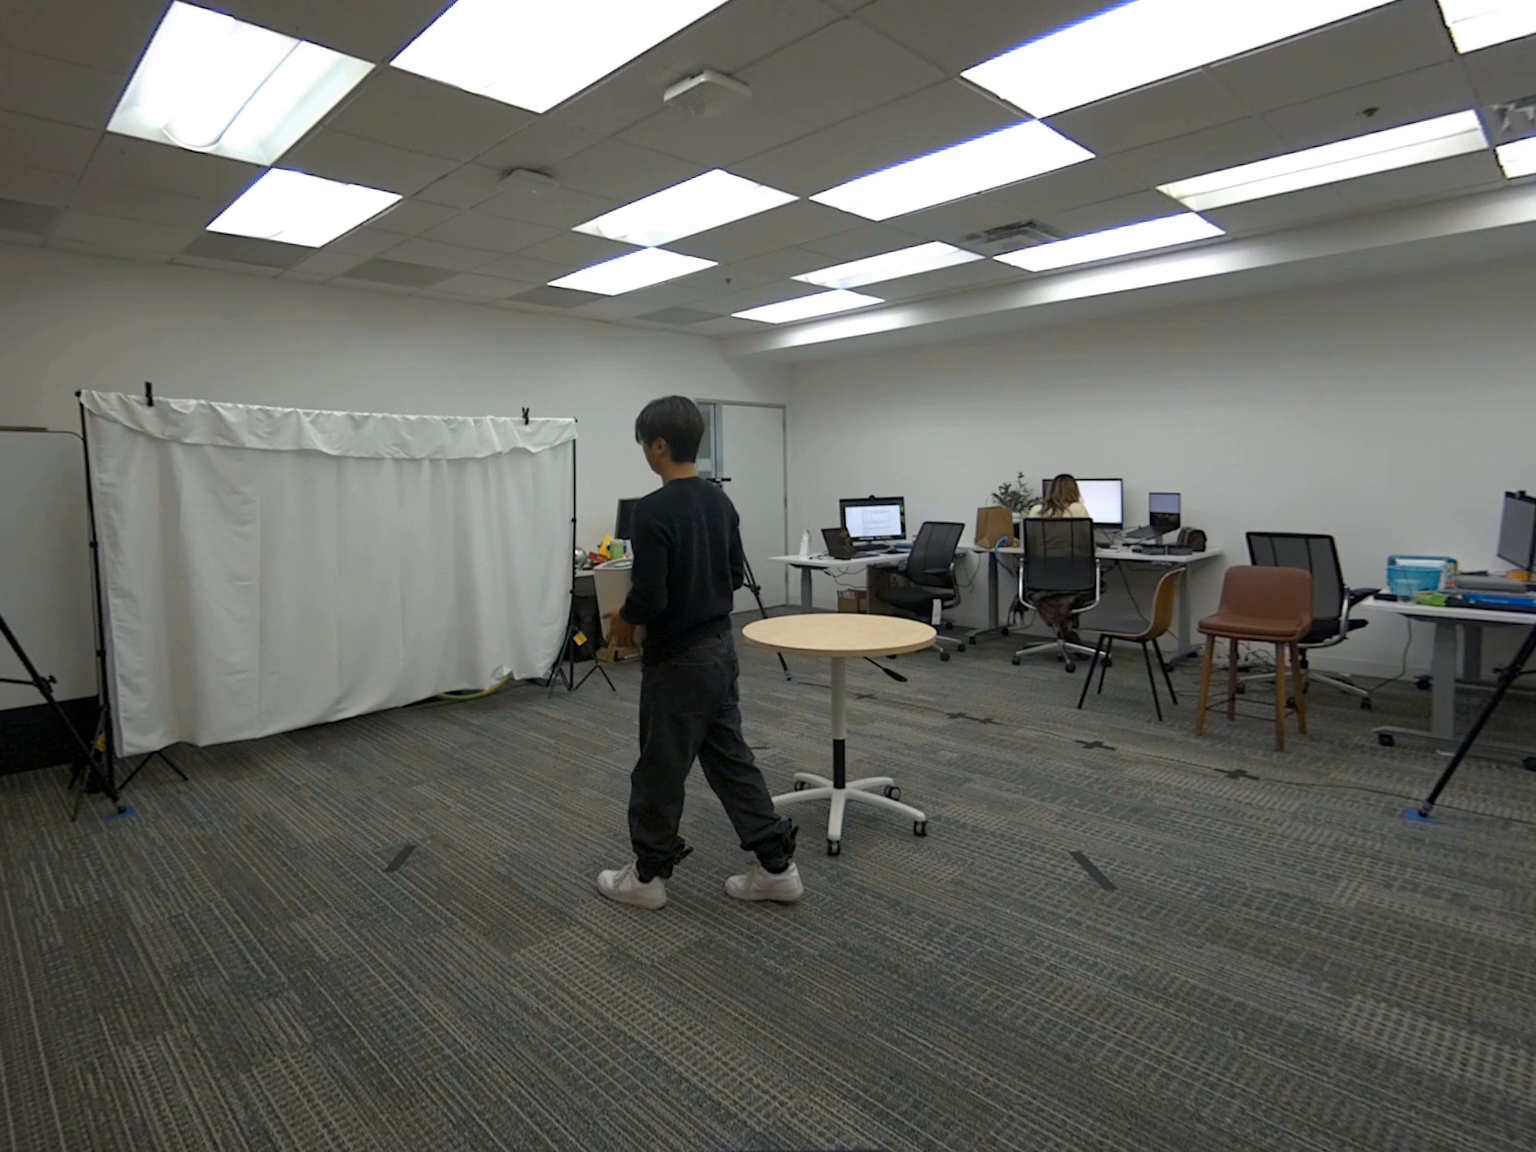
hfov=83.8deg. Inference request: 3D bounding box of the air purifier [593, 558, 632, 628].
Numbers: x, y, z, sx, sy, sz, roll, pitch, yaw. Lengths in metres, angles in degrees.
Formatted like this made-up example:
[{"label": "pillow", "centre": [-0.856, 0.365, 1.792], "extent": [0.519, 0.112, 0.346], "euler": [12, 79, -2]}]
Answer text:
[{"label": "air purifier", "centre": [-0.472, 0.084, 2.916], "extent": [0.175, 0.263, 0.169], "euler": [0, 11, 25]}]
